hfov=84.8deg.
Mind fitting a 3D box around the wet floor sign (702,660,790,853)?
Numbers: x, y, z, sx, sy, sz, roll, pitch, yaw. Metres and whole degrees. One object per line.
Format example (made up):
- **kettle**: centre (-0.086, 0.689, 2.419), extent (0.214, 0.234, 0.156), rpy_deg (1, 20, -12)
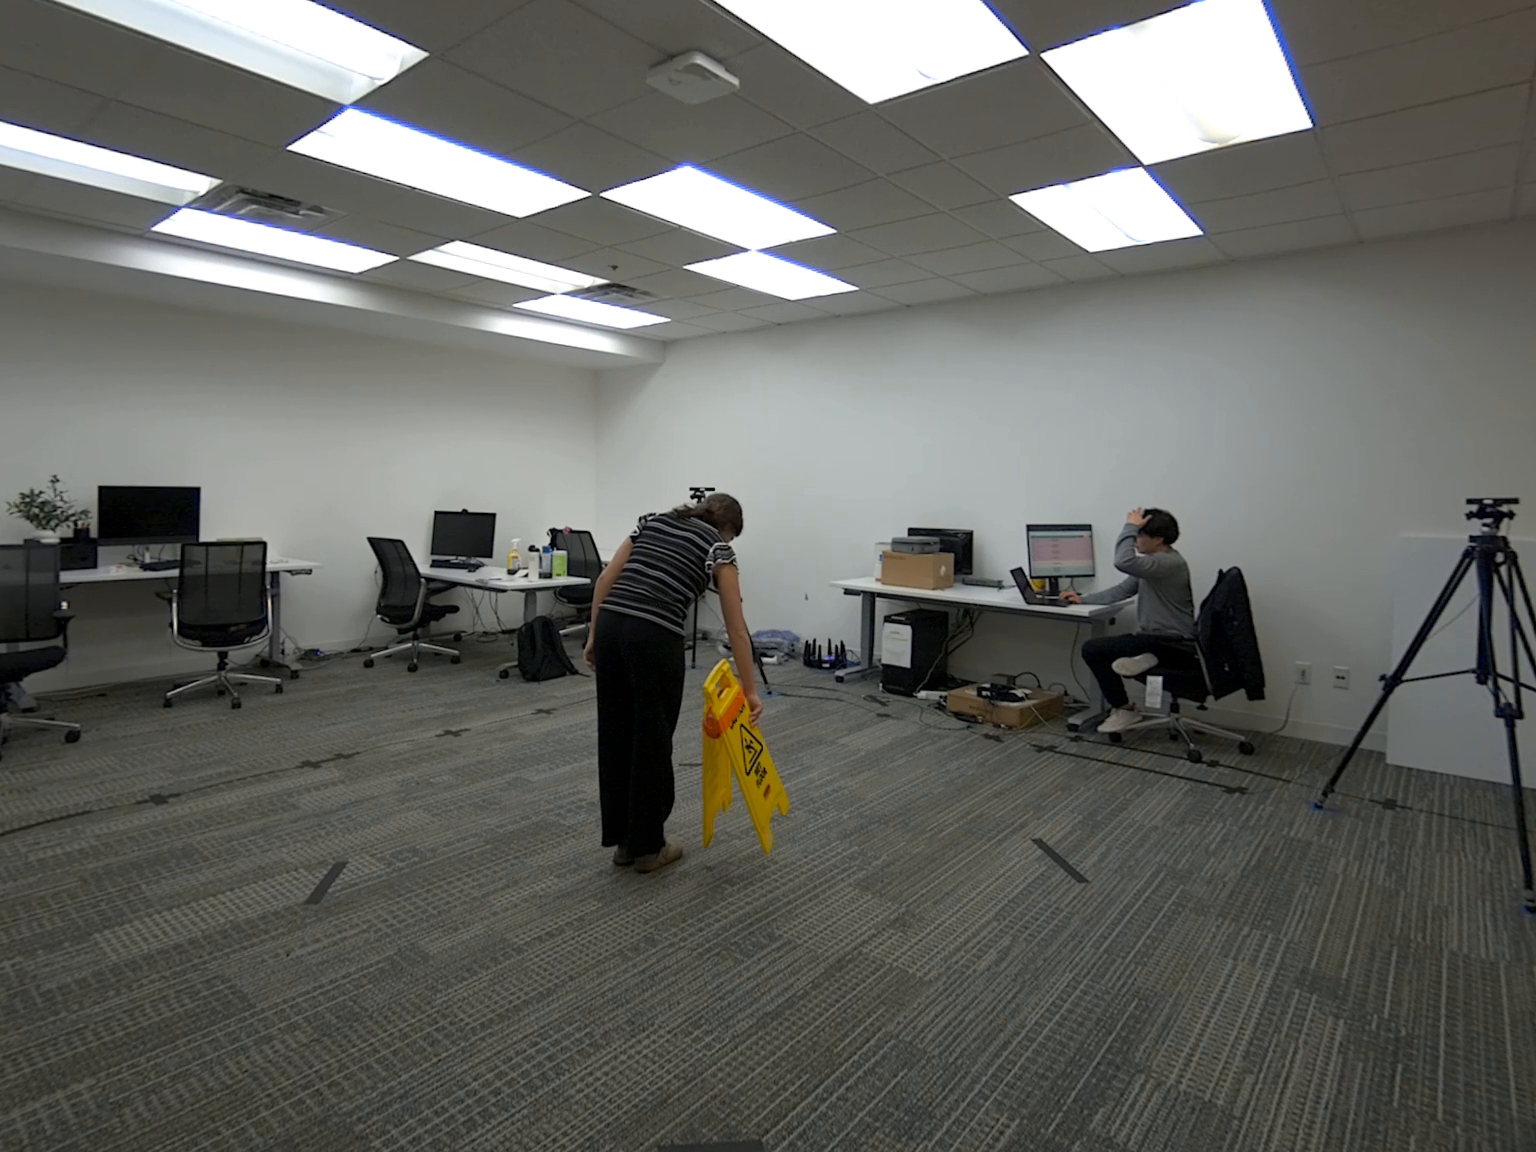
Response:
- **wet floor sign**: centre (-0.140, 0.635, 3.043), extent (0.296, 0.633, 0.282), rpy_deg (-2, 21, 22)
